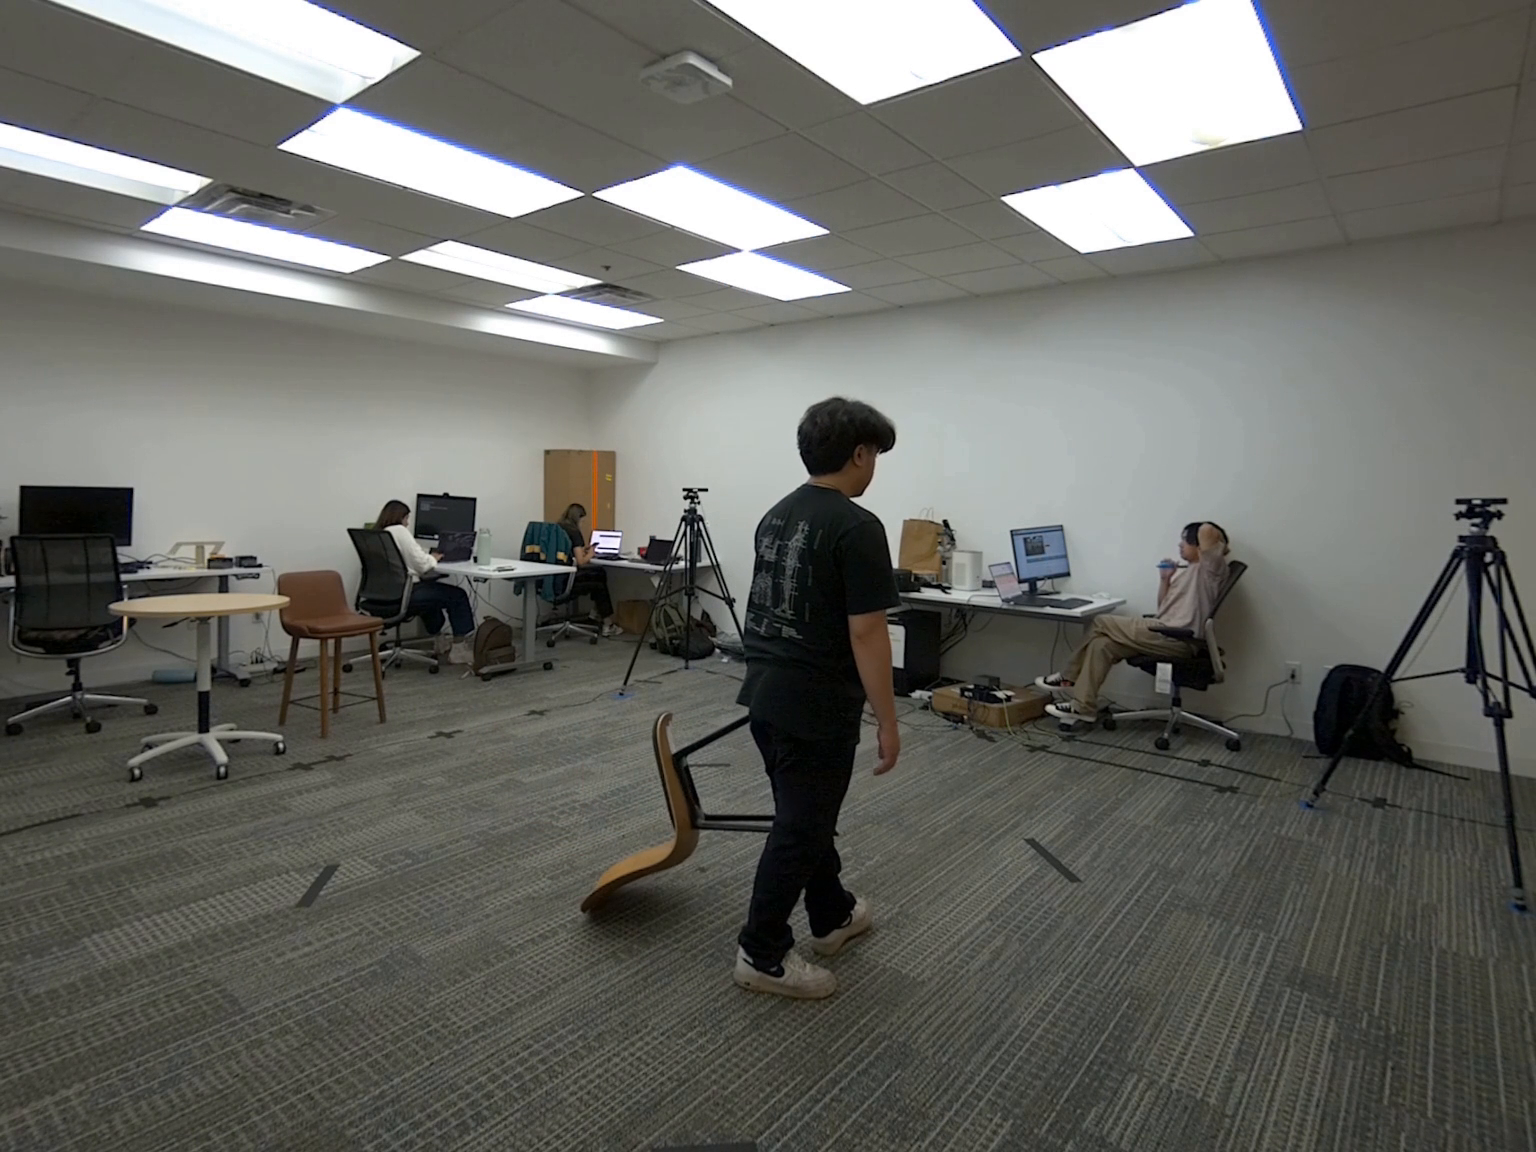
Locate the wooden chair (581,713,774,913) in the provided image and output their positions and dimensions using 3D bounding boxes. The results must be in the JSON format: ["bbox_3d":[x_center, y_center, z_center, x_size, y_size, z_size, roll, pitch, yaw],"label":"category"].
[{"bbox_3d":[-0.274,0.708,2.846,0.875,0.531,0.472,-19,-11,-3],"label":"wooden chair"}]
